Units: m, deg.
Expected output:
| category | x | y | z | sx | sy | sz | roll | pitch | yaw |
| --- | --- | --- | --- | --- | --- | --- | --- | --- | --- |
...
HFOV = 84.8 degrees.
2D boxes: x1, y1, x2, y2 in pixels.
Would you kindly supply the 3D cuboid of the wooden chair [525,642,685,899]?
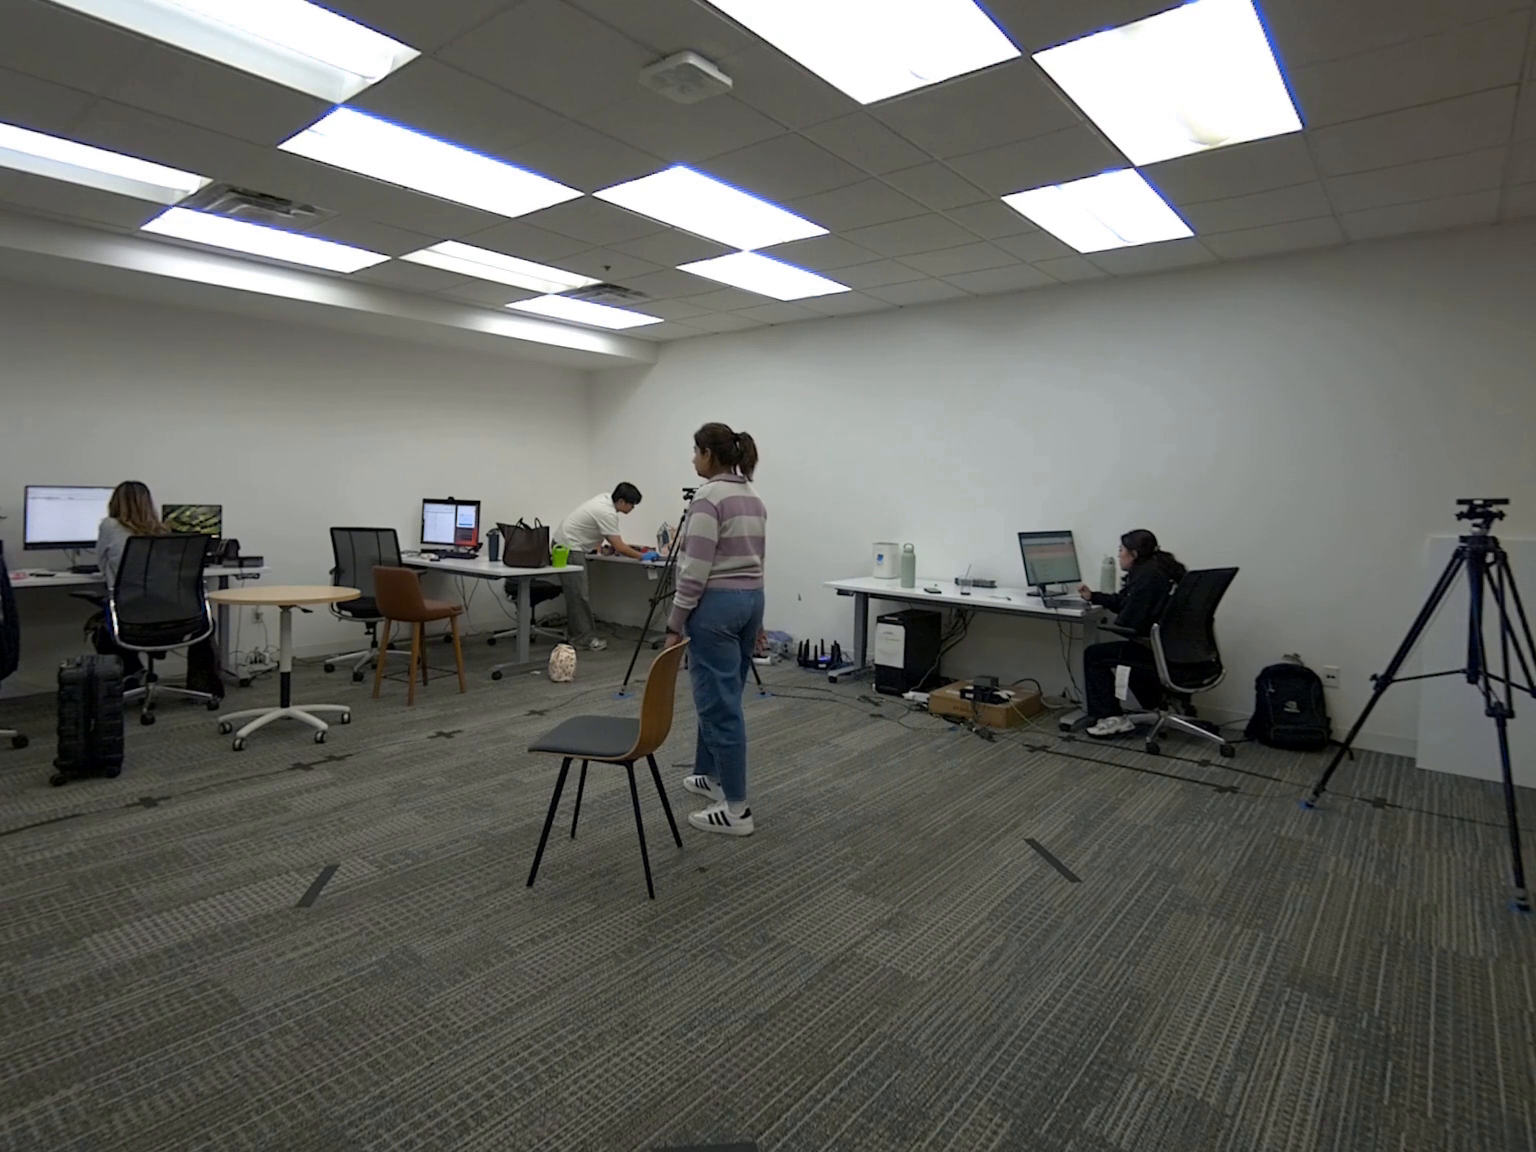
| category | x | y | z | sx | sy | sz | roll | pitch | yaw |
| --- | --- | --- | --- | --- | --- | --- | --- | --- | --- |
| wooden chair | -0.595 | 0.638 | 3.099 | 0.529 | 0.875 | 0.474 | 5 | 4 | 9 |
